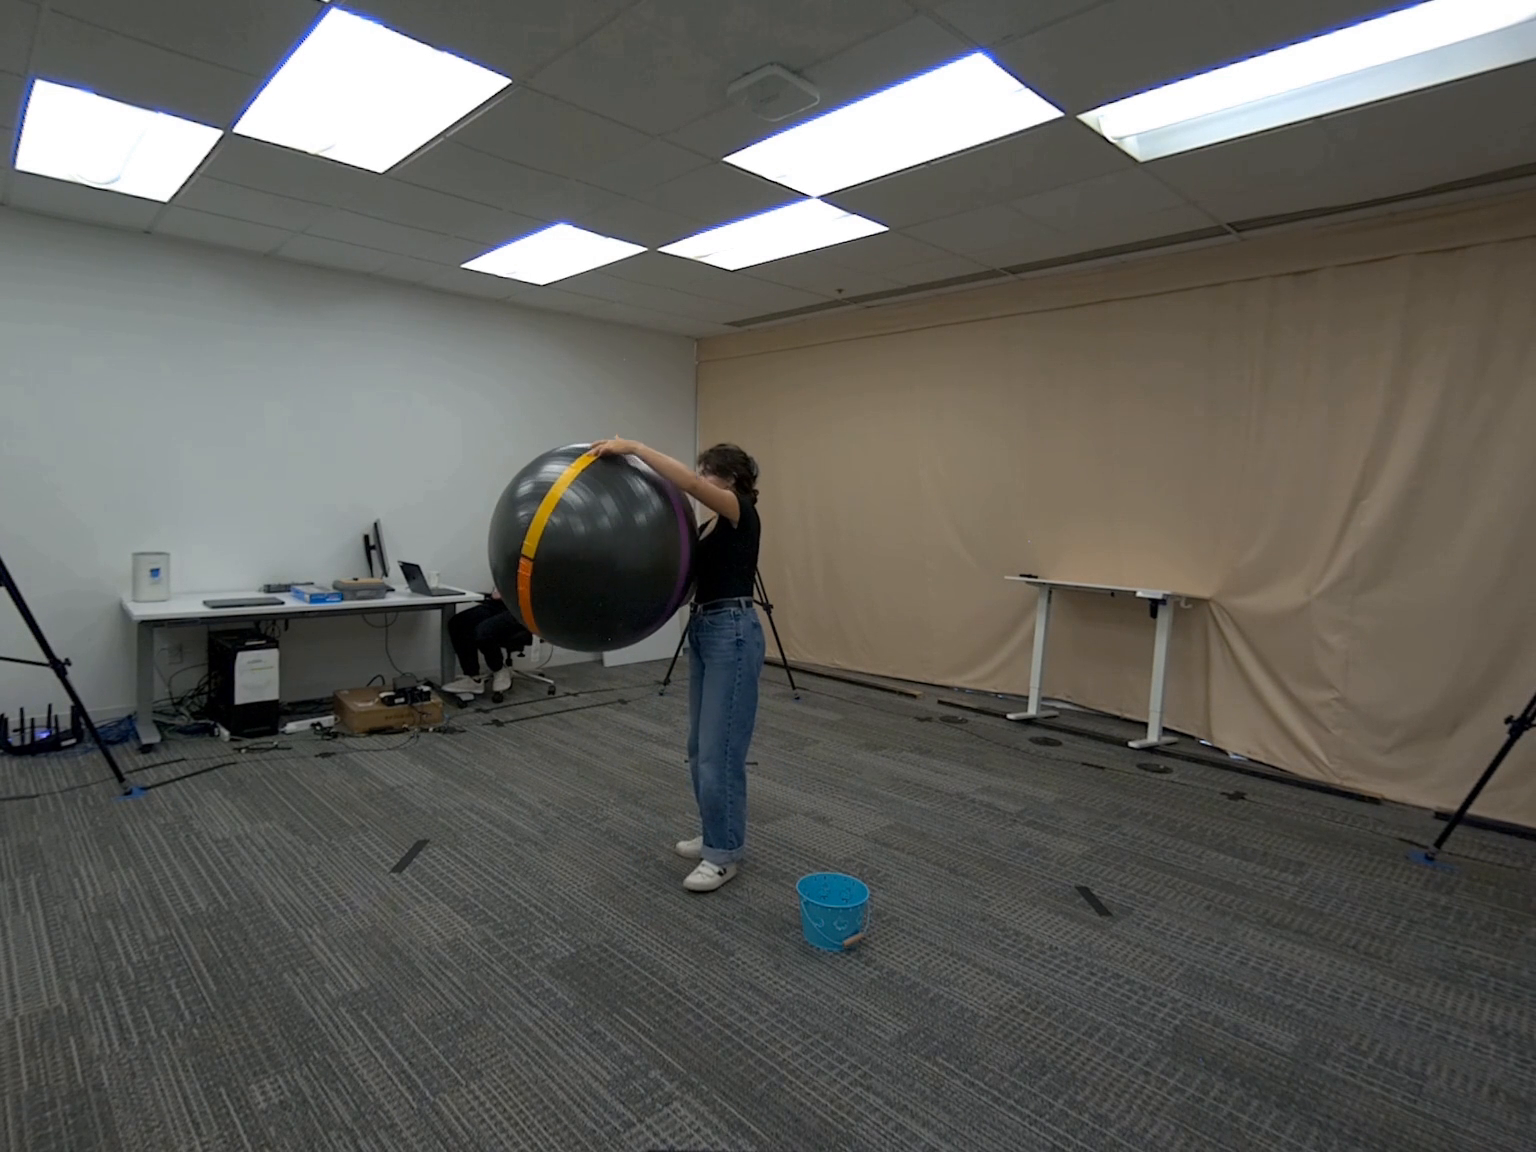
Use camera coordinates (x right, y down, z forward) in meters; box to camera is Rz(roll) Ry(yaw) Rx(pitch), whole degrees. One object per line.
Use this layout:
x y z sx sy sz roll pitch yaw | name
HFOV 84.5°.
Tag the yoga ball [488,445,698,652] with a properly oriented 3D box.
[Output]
-0.637 -0.099 3.057 0.757 0.756 0.761 1 4 -1 | yoga ball
